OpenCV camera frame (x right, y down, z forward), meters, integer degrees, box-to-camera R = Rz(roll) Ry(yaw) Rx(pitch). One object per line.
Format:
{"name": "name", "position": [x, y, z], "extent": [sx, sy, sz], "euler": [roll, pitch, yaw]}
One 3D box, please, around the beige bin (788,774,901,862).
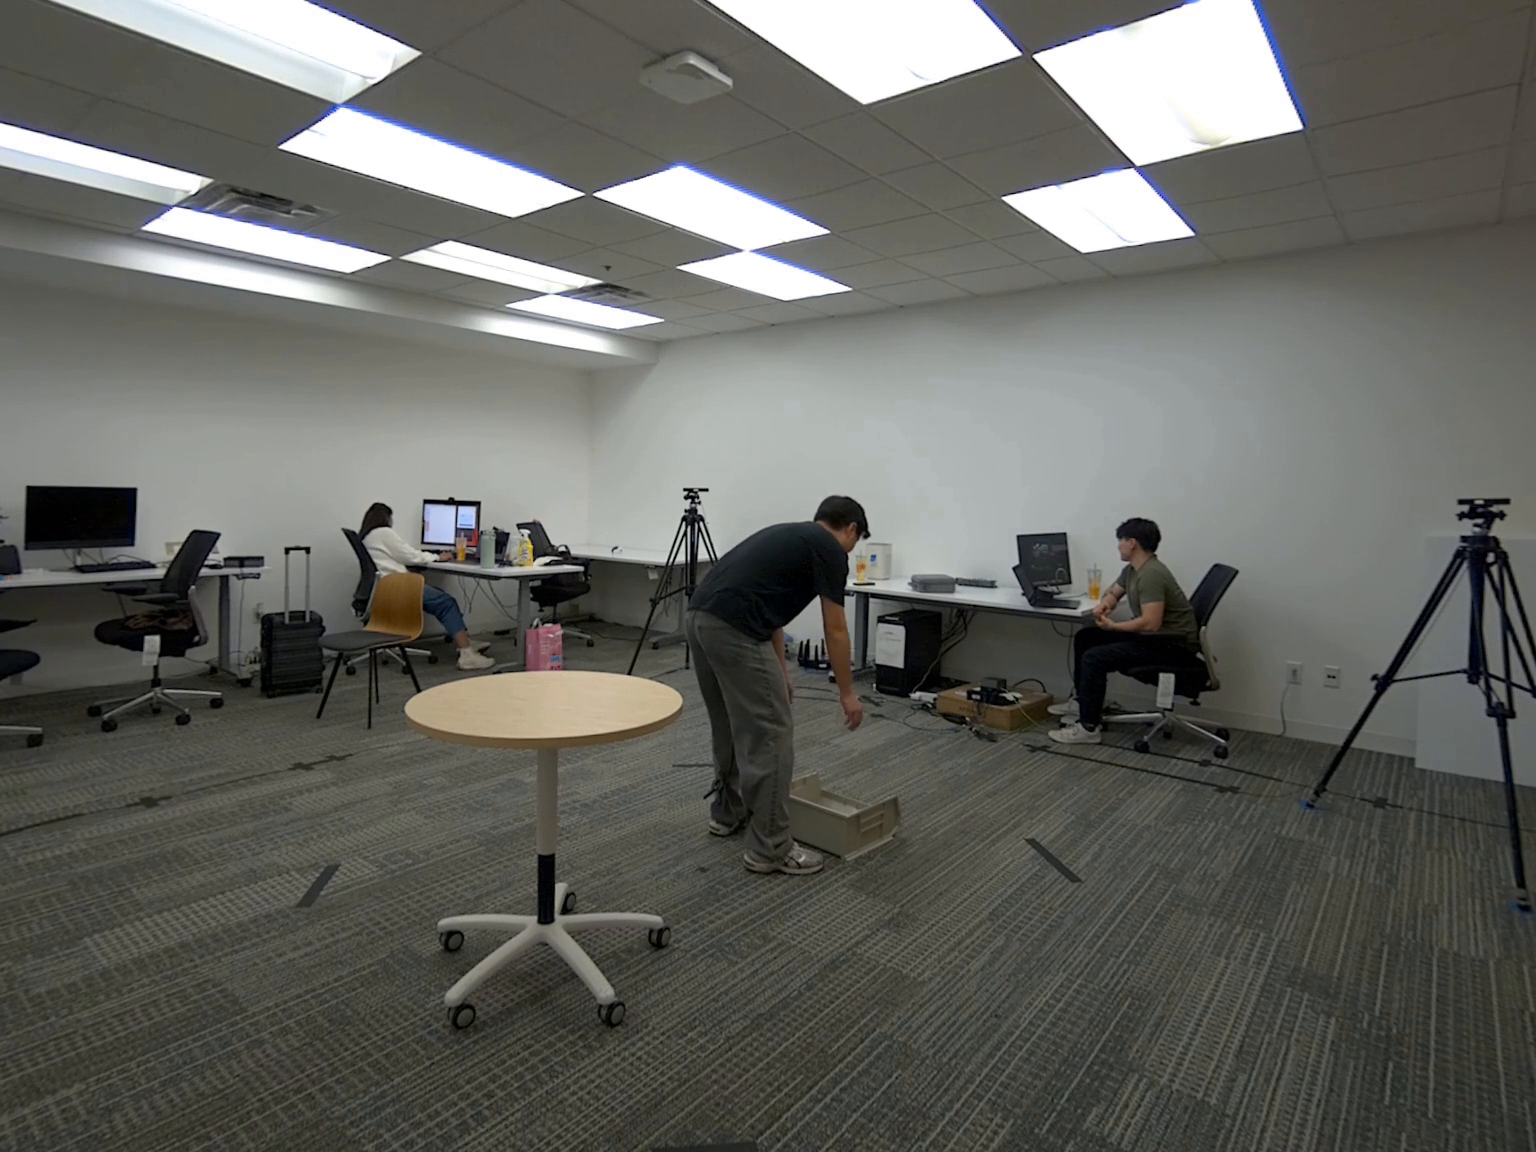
{"name": "beige bin", "position": [0.254, 0.955, 3.459], "extent": [0.437, 0.188, 0.366], "euler": [6, 8, 41]}
